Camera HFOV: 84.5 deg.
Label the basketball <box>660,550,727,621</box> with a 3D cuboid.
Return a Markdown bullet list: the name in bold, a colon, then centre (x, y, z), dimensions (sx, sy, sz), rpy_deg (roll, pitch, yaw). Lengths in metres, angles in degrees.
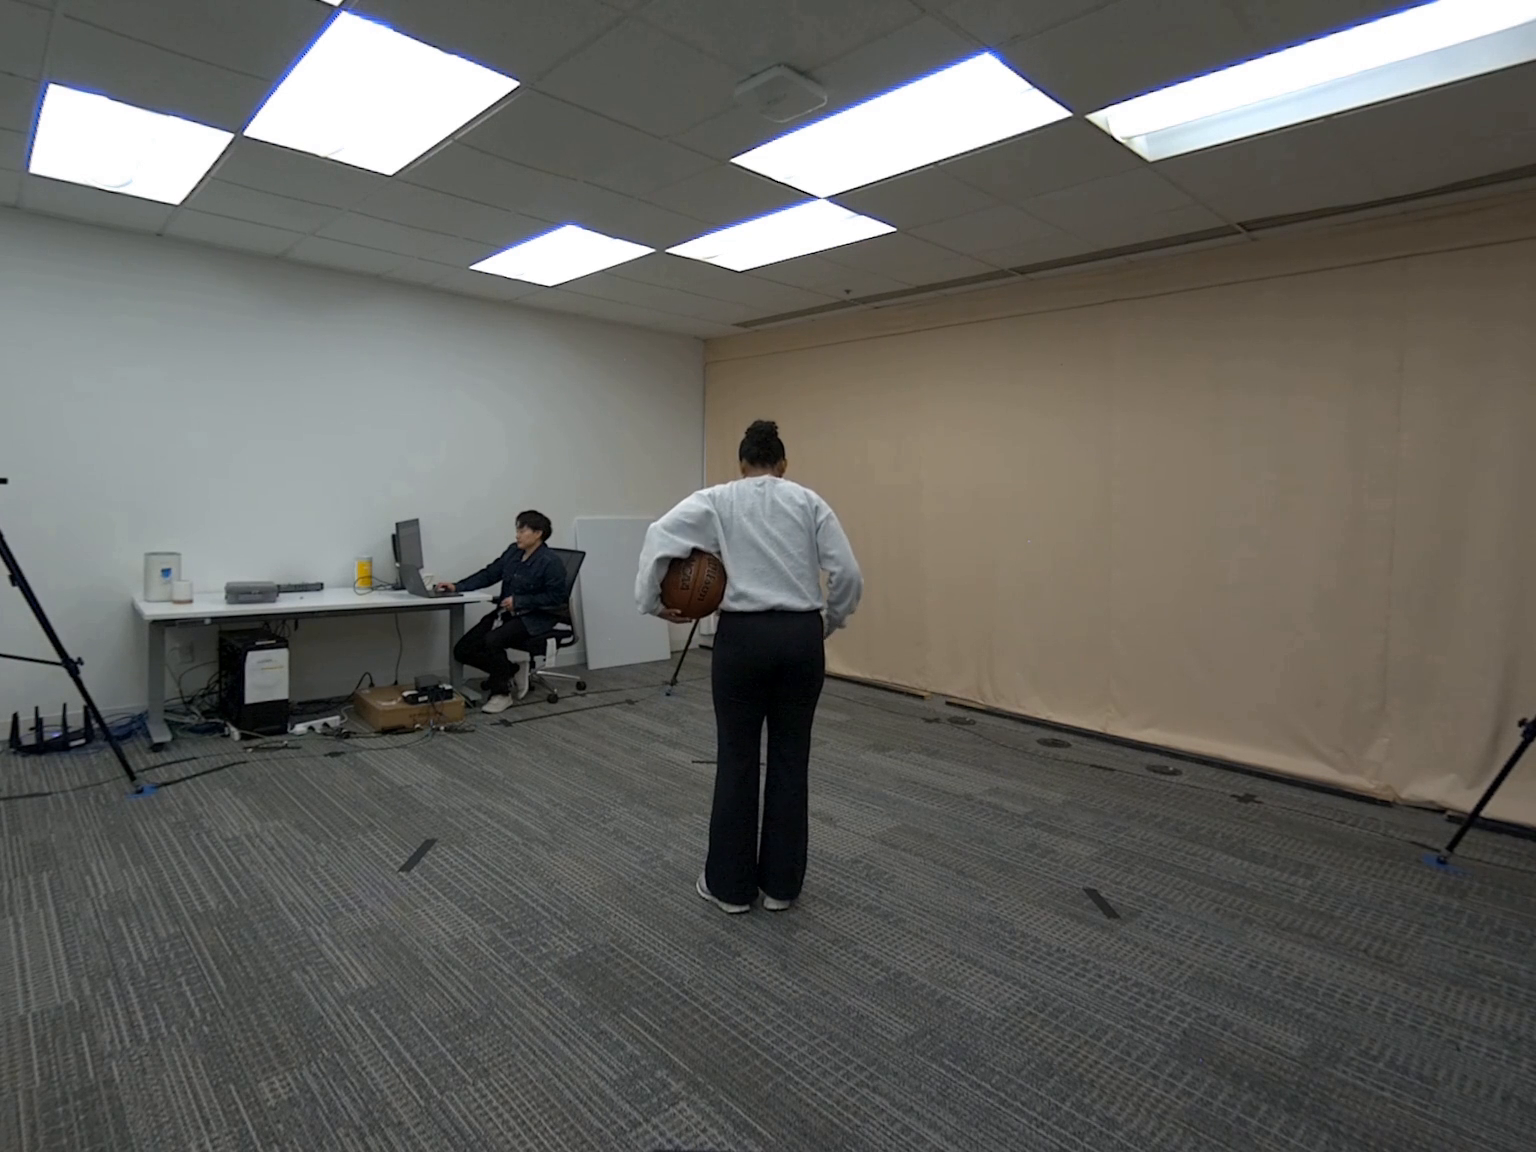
- **basketball**: centre (-0.252, 0.027, 2.812), dimensions (0.236, 0.235, 0.237), rpy_deg (1, 4, -1)
